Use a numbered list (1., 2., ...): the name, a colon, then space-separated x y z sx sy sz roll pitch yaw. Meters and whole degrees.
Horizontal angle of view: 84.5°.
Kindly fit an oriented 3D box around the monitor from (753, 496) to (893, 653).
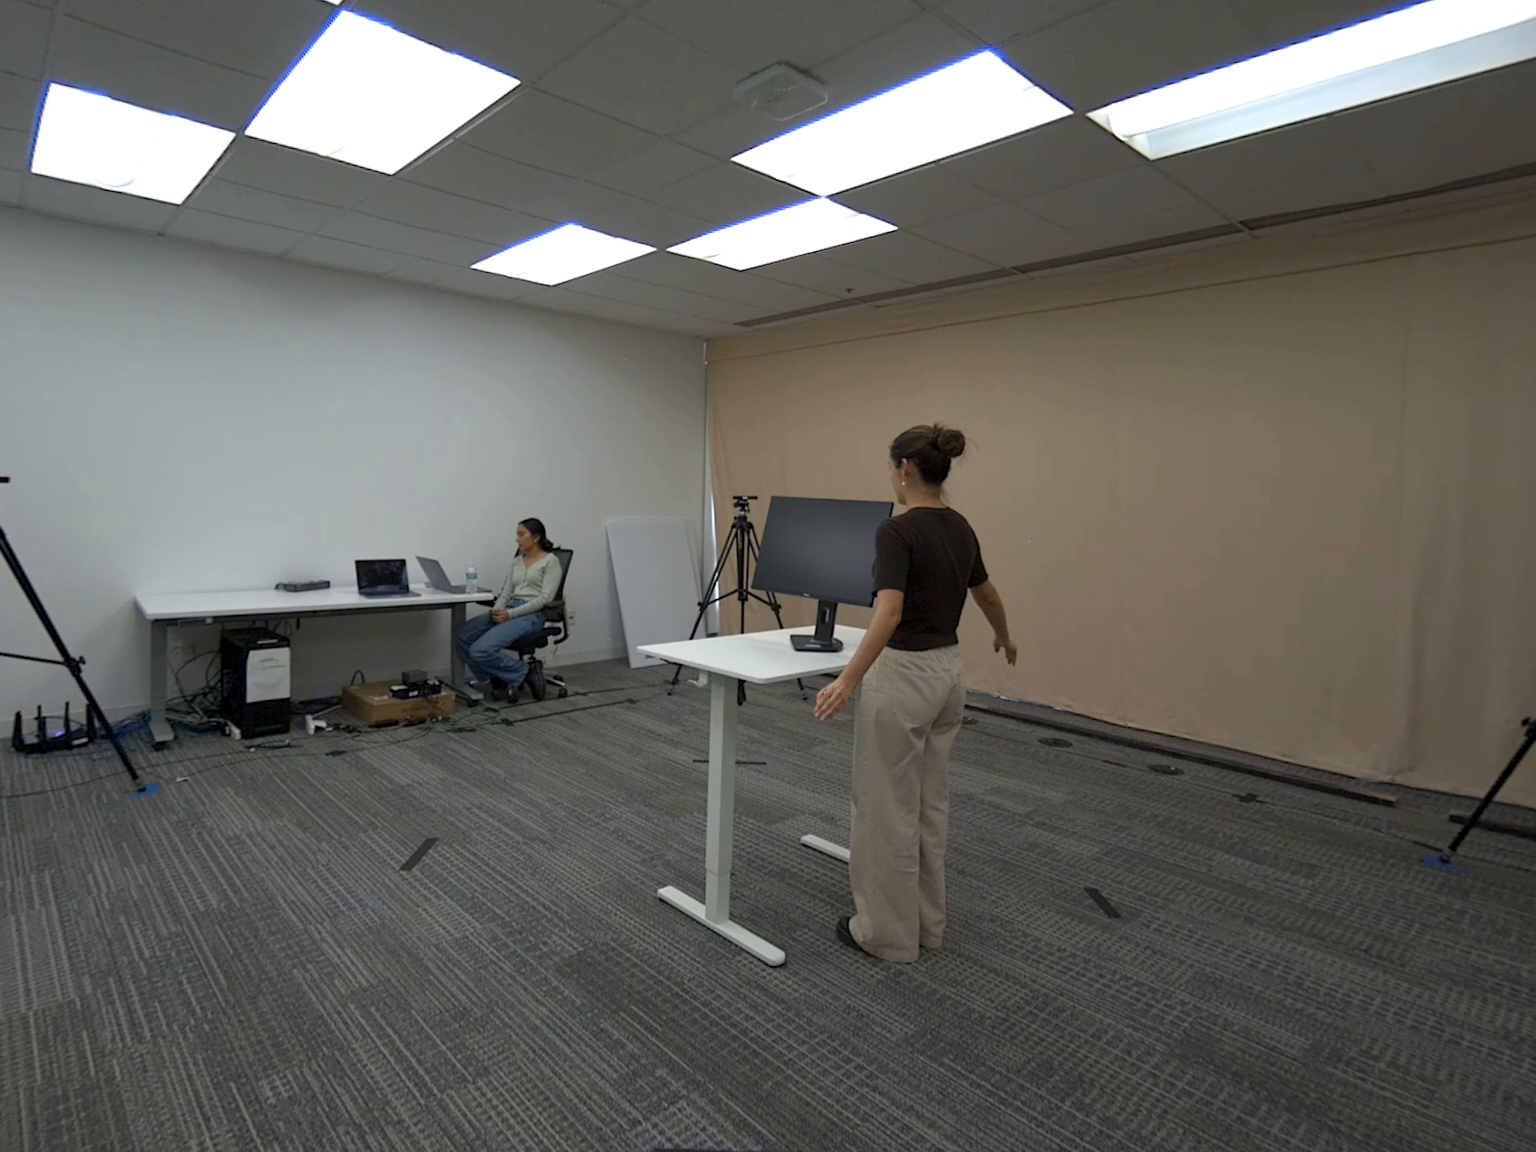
1. monitor: 0.188 -0.006 2.917 0.553 0.520 0.183 8 7 40
